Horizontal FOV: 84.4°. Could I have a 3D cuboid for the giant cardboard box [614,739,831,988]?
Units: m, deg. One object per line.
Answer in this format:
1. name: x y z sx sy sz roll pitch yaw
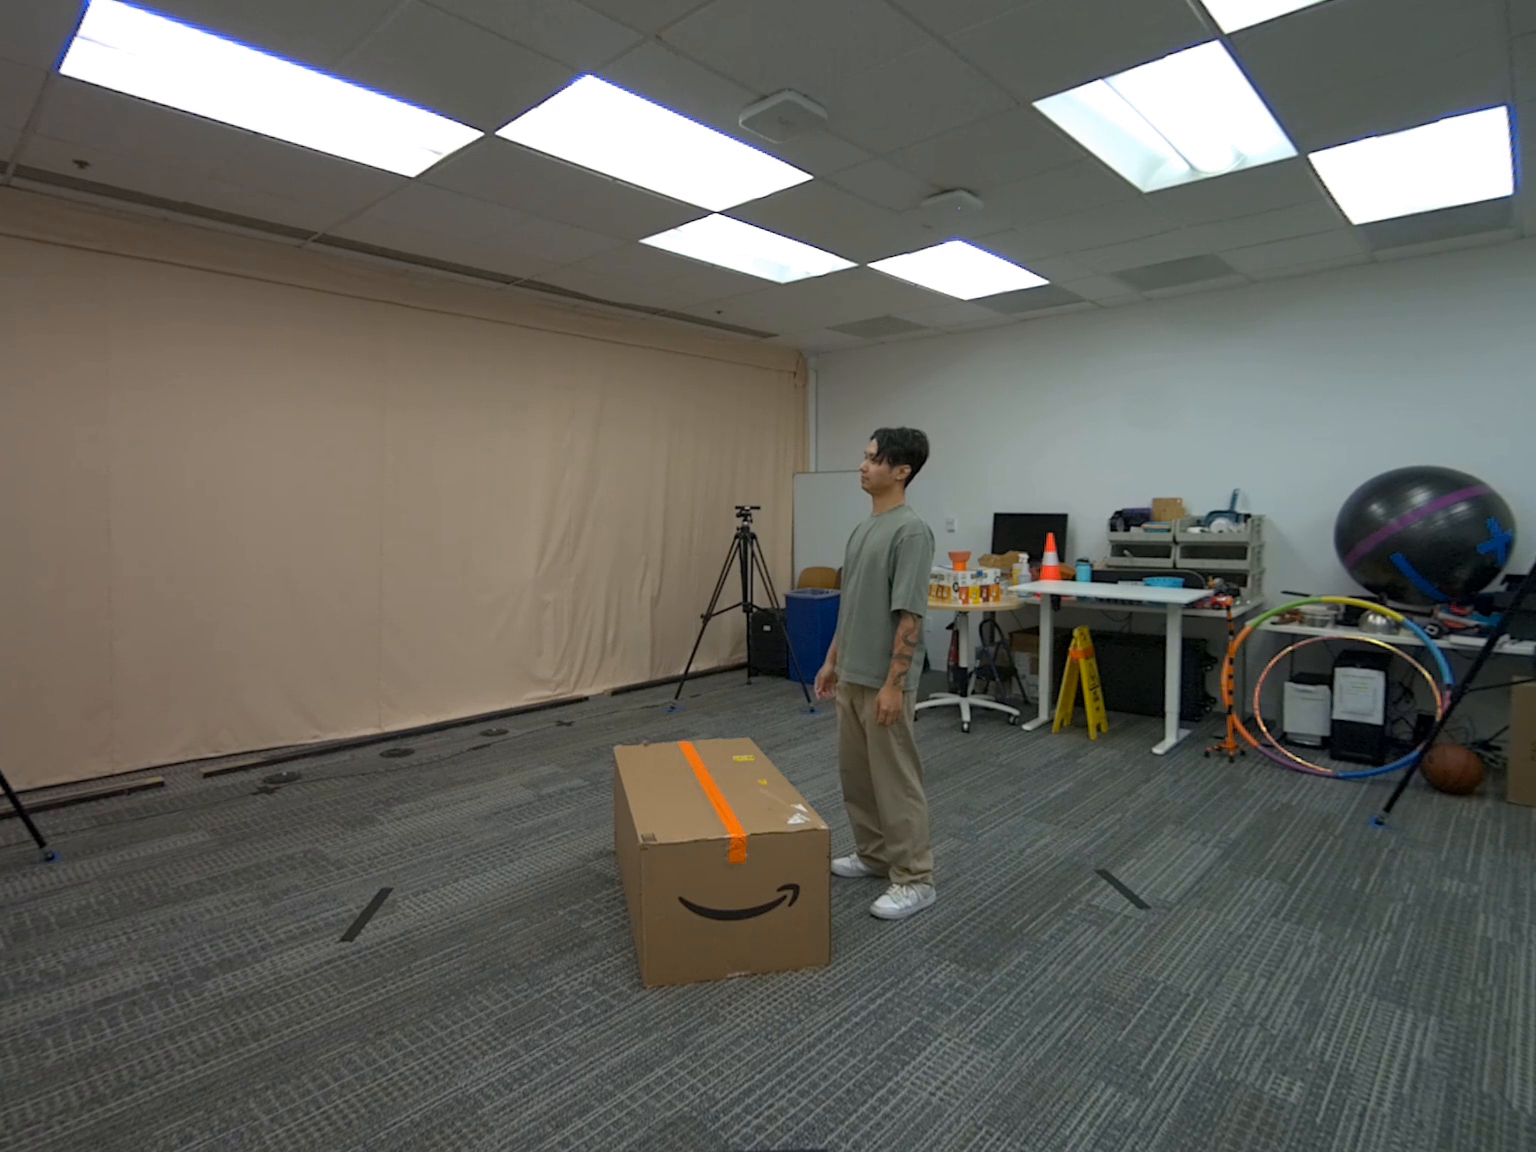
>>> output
1. giant cardboard box: -0.217 0.930 2.974 0.569 0.425 1.043 -1 4 -14
